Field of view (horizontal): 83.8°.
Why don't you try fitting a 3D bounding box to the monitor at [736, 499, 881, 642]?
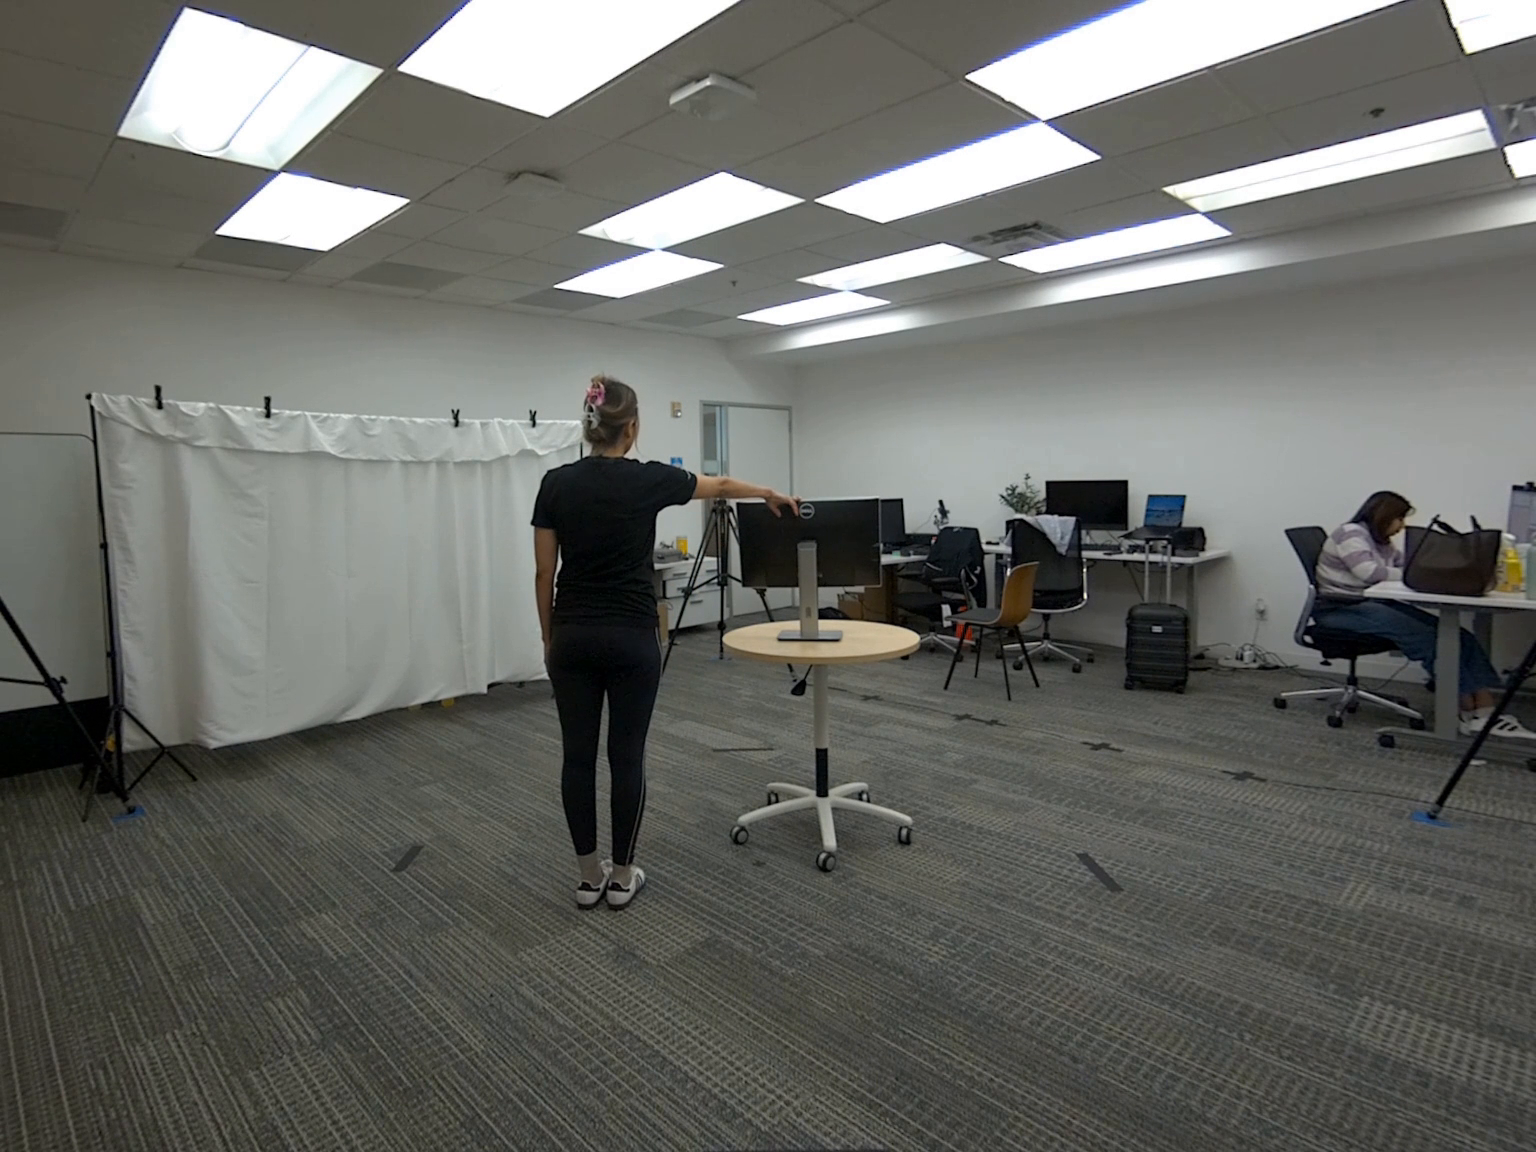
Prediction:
[{"bbox_3d":[0.156,-0.022,3.329,0.543,0.521,0.186,-1,4,8],"label":"monitor"}]
